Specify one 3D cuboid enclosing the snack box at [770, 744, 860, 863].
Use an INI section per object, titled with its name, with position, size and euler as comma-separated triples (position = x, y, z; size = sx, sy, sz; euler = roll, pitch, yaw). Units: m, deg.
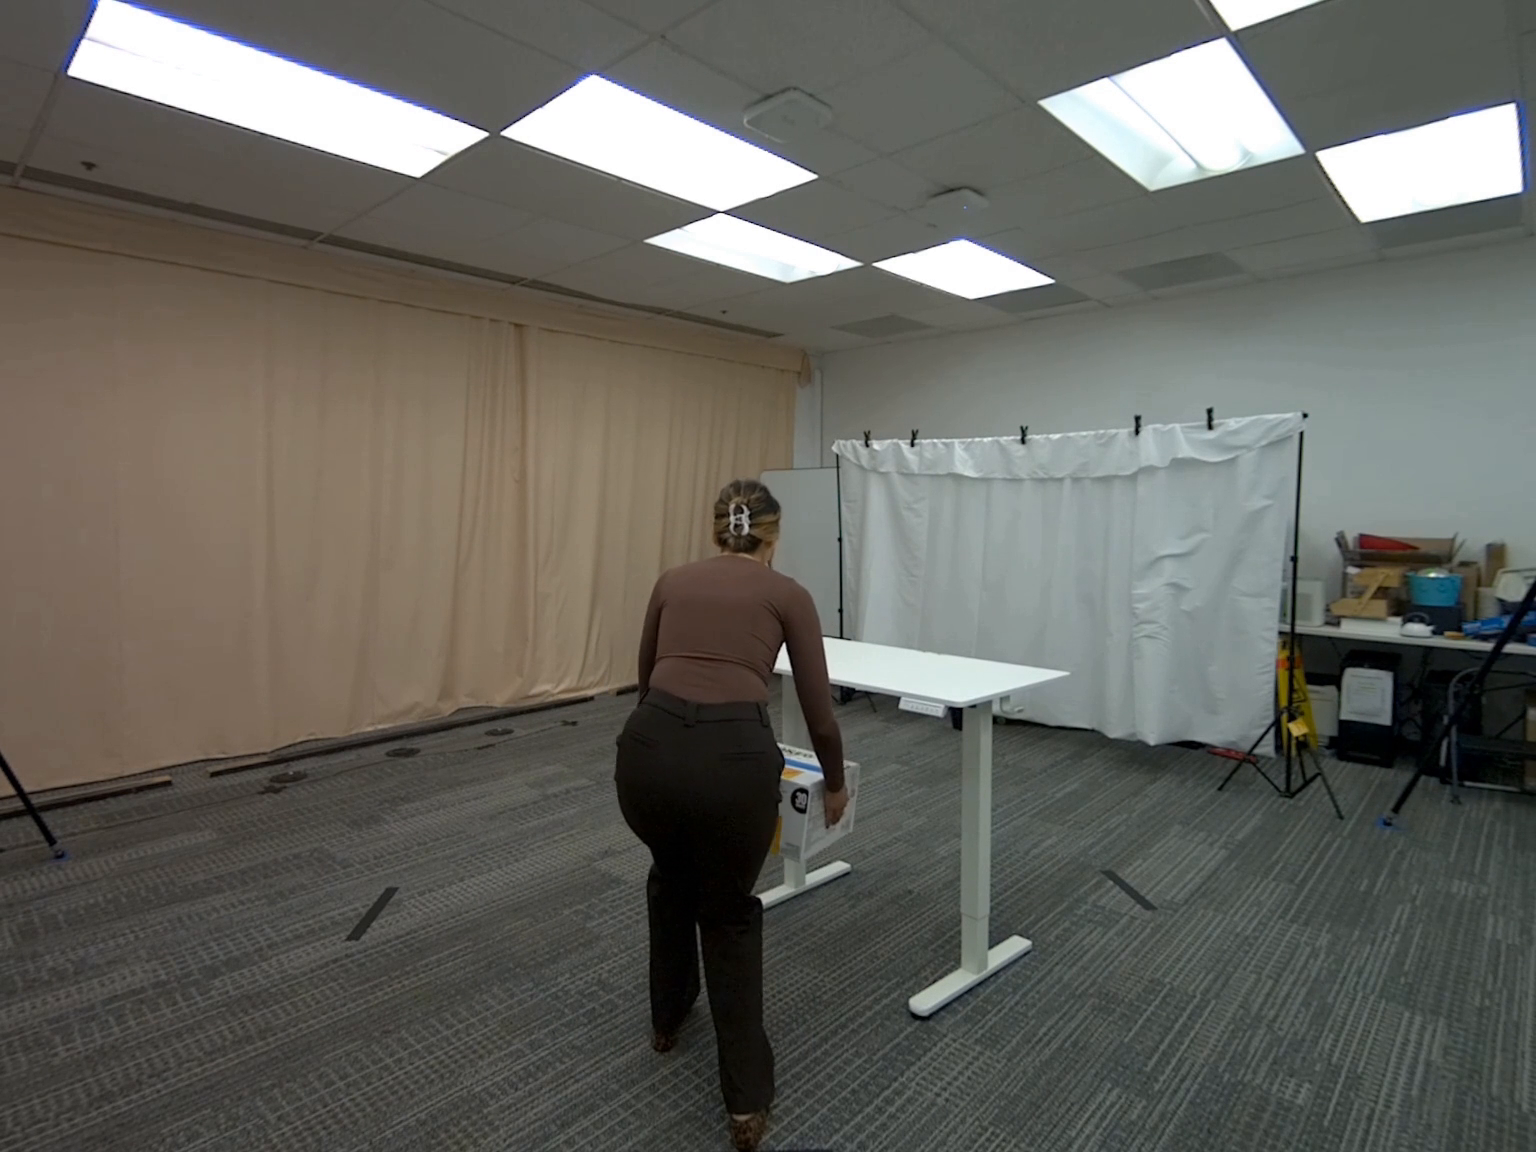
[snack box]
position = 0.001, 0.609, 2.380
size = 0.417, 0.205, 0.330
euler = 8, 2, 30
